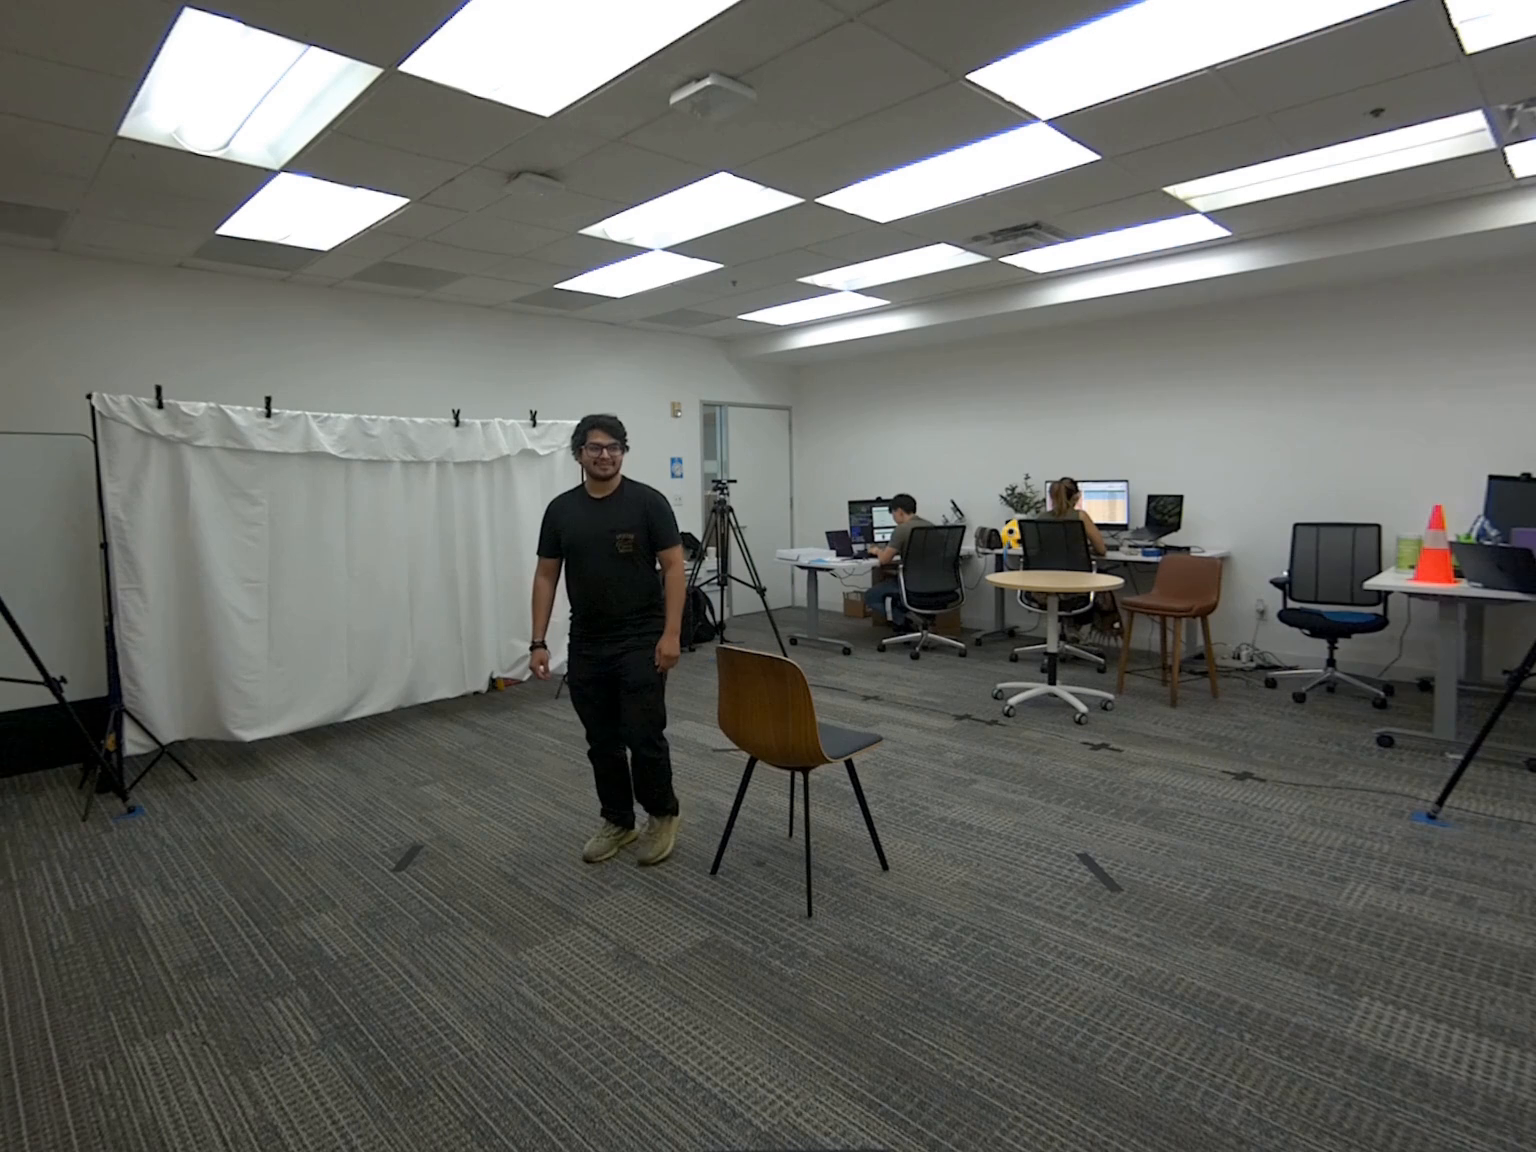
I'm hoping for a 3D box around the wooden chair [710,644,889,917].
[{"bbox_3d":[0.118,0.633,3.003,0.492,0.871,0.511,3,10,42],"label":"wooden chair"}]
